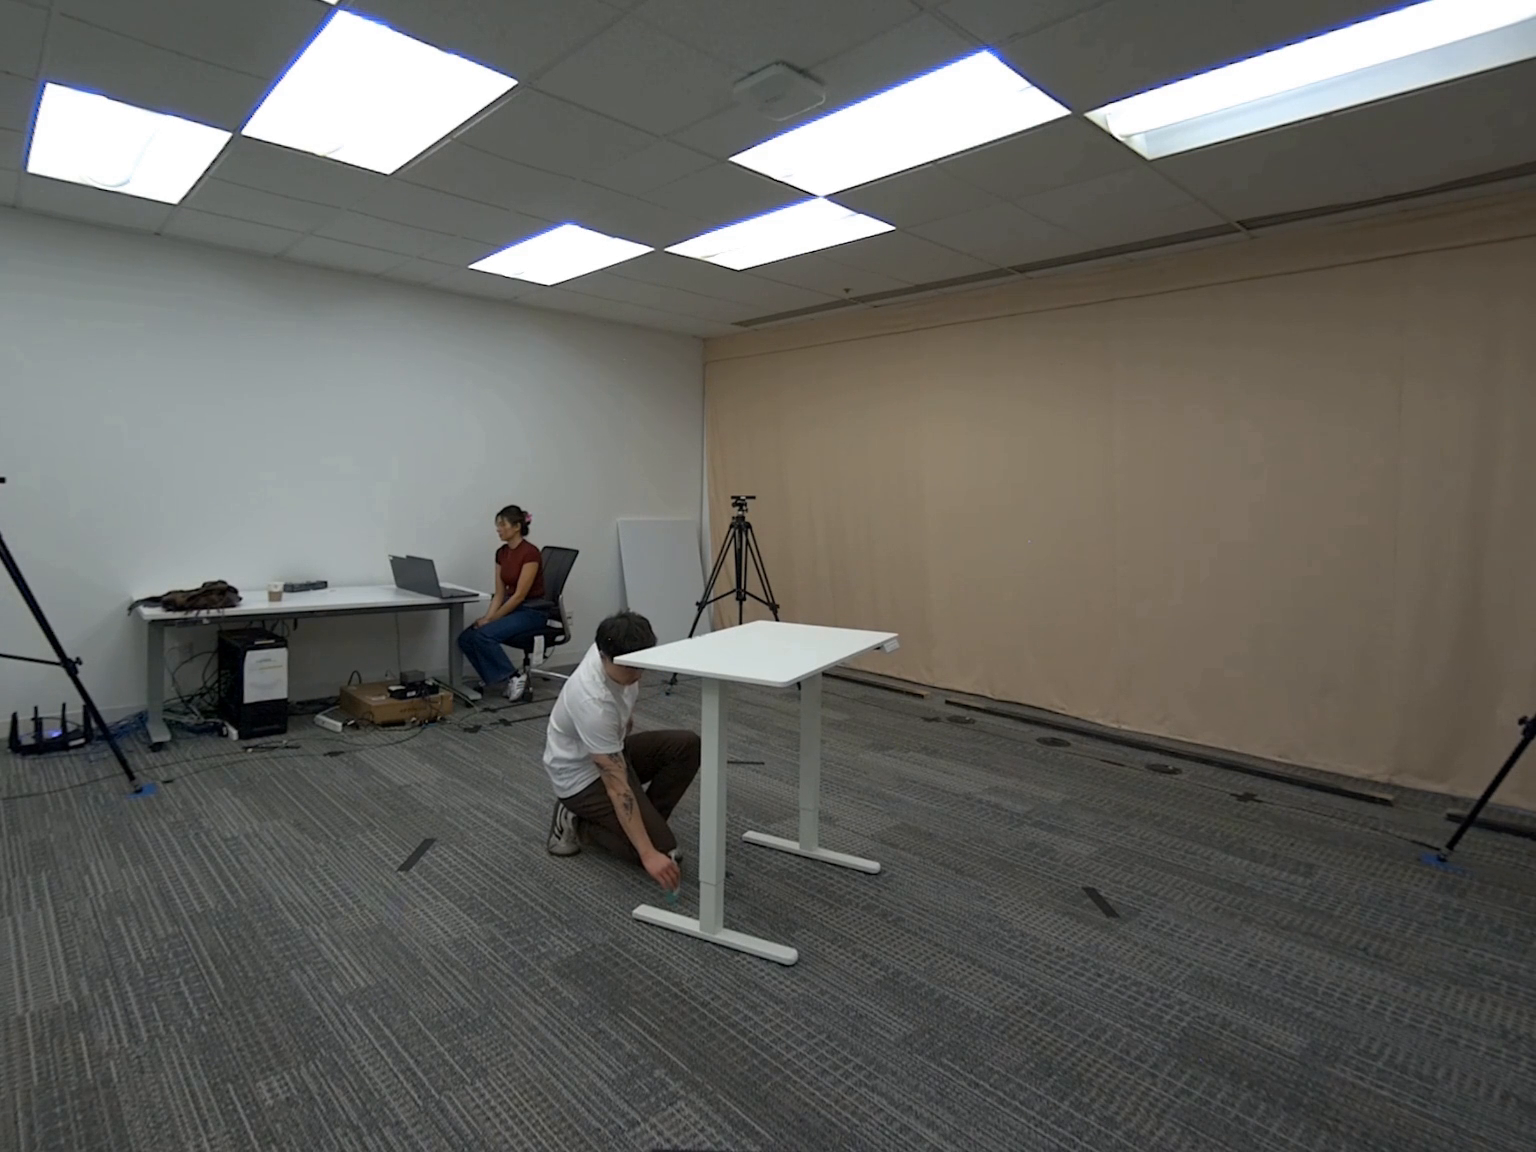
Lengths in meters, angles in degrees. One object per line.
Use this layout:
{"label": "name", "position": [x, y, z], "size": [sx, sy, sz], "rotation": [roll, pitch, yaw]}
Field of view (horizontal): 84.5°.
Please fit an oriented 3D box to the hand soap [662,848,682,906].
{"label": "hand soap", "position": [-0.335, 1.038, 2.888], "size": [0.044, 0.167, 0.084], "rotation": [6, 6, 8]}
